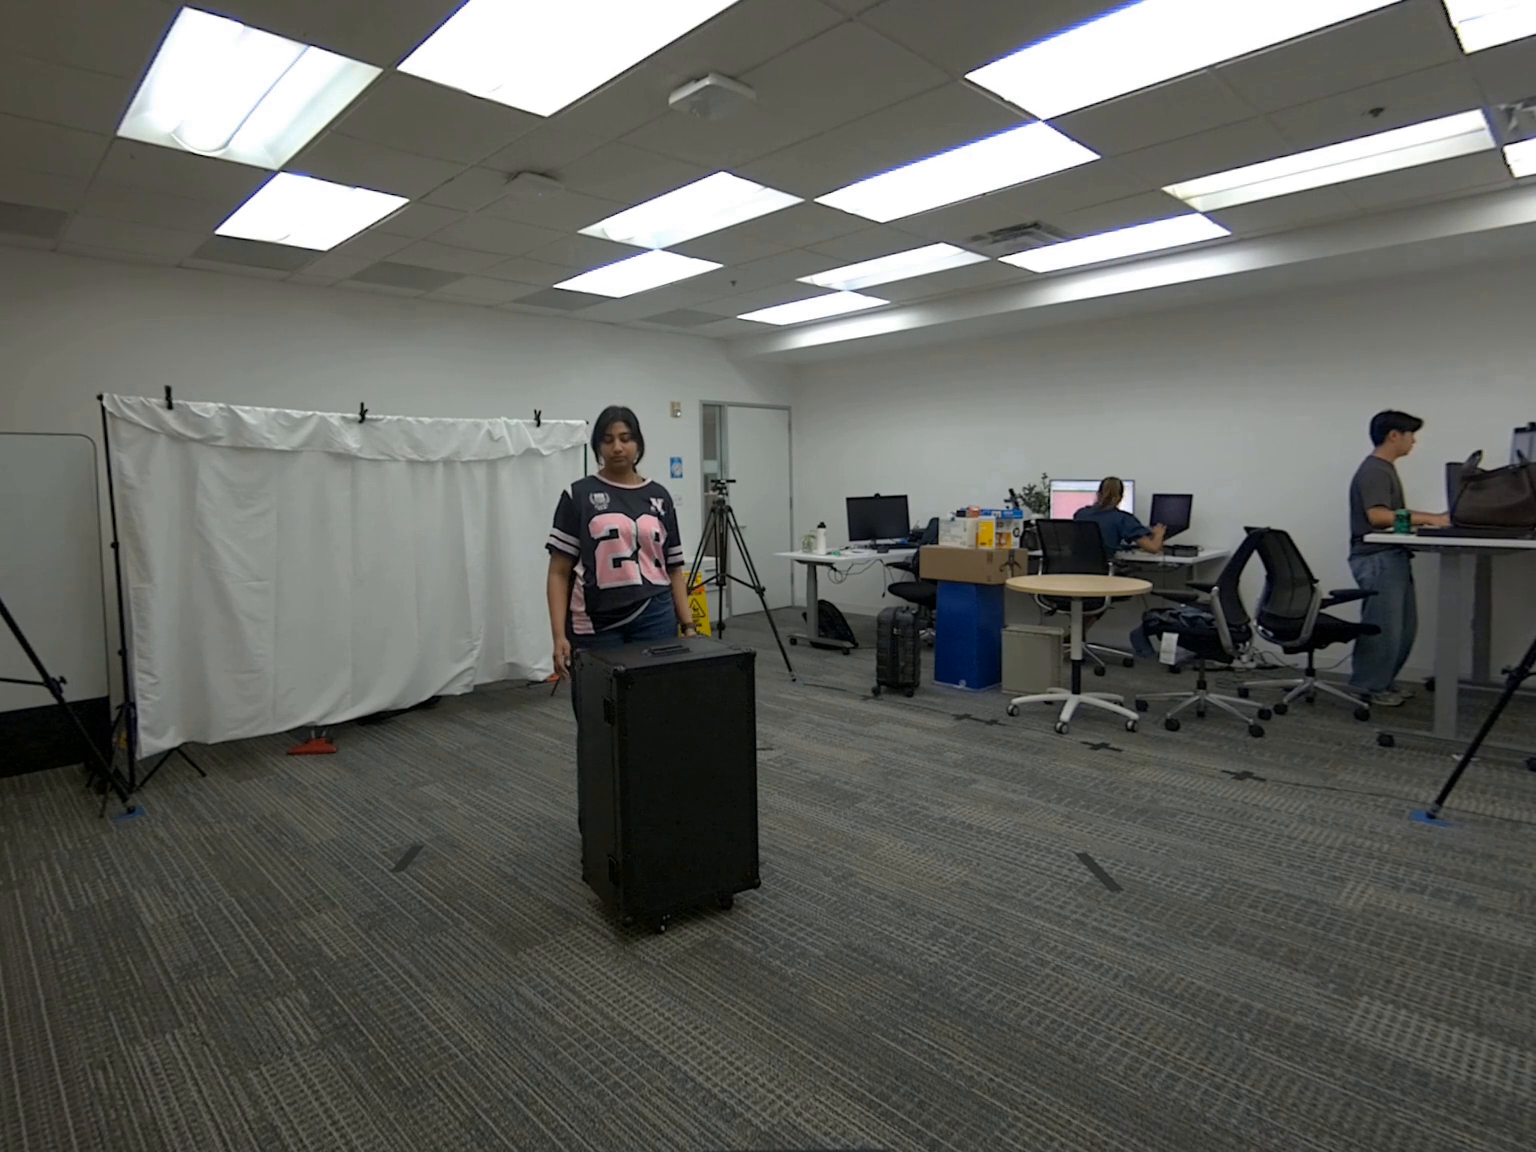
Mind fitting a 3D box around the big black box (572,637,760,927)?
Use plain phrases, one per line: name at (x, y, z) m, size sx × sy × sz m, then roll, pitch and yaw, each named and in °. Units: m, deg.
big black box at (-0.338, 0.668, 2.798) m, size 0.511 × 0.865 × 0.396 m, roll -4°, pitch 5°, yaw -31°
